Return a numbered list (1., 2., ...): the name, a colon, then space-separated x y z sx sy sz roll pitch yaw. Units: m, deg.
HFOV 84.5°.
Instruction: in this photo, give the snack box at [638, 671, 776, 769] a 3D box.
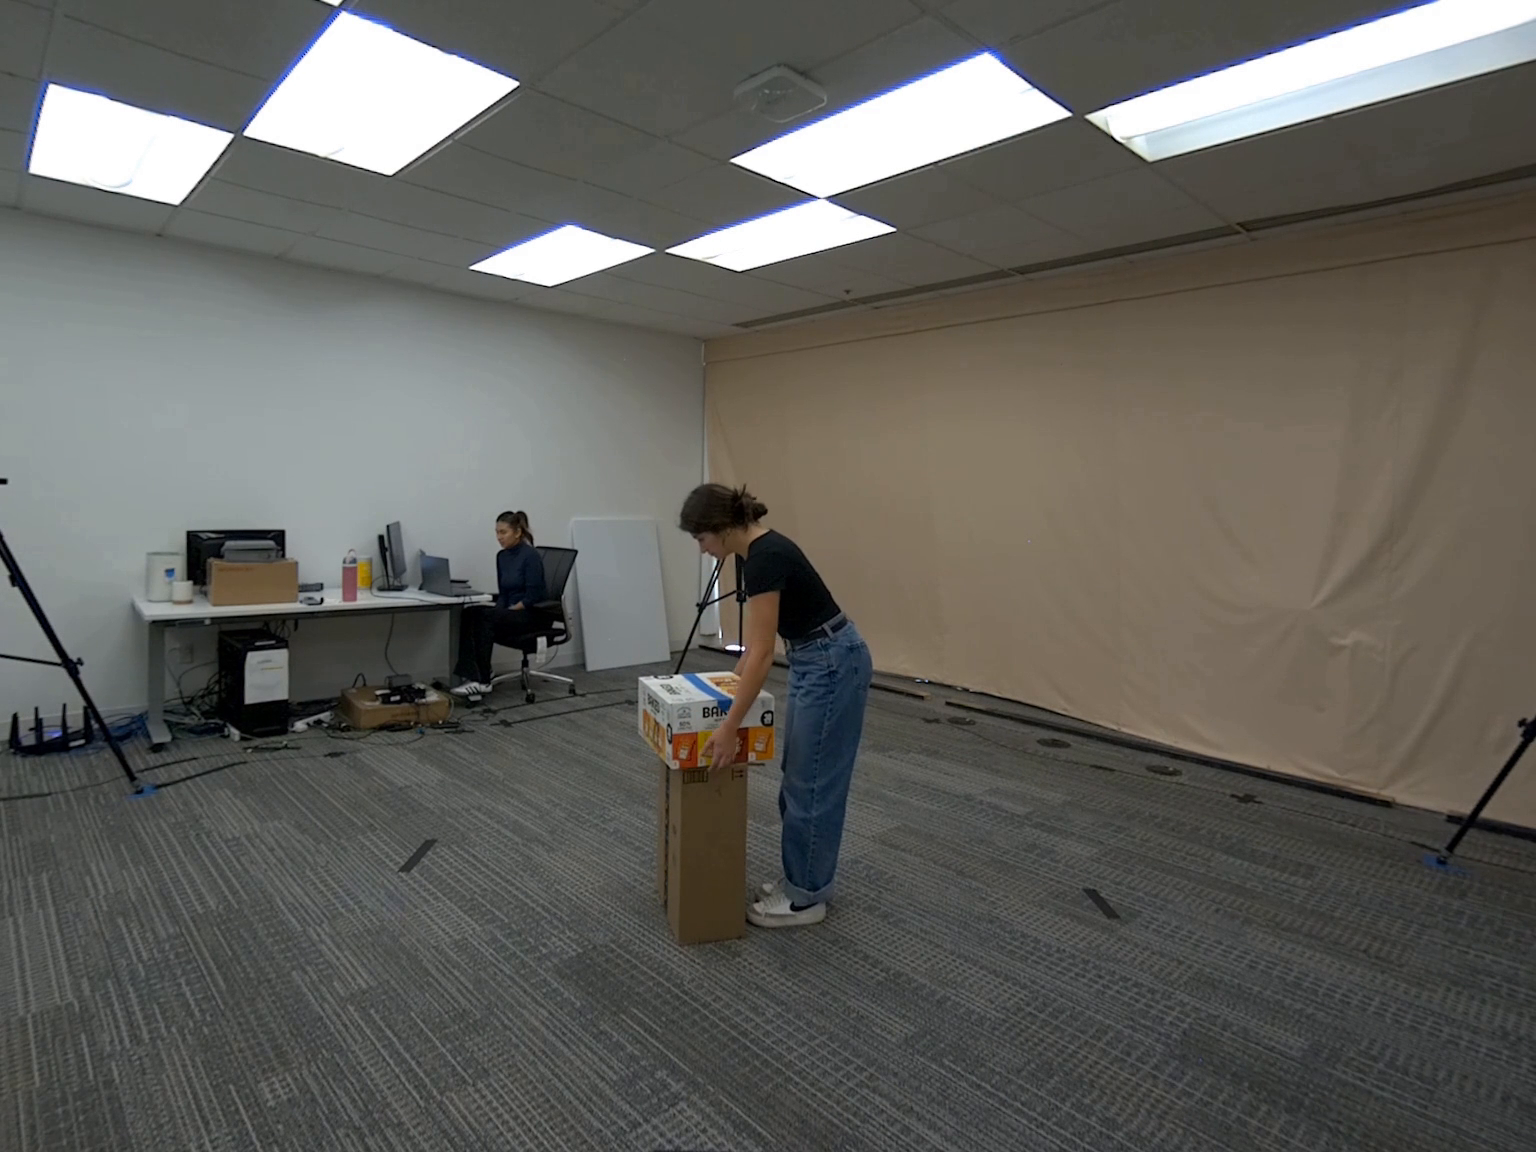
1. snack box: -0.220 0.466 2.786 0.335 0.205 0.413 0 5 -22
